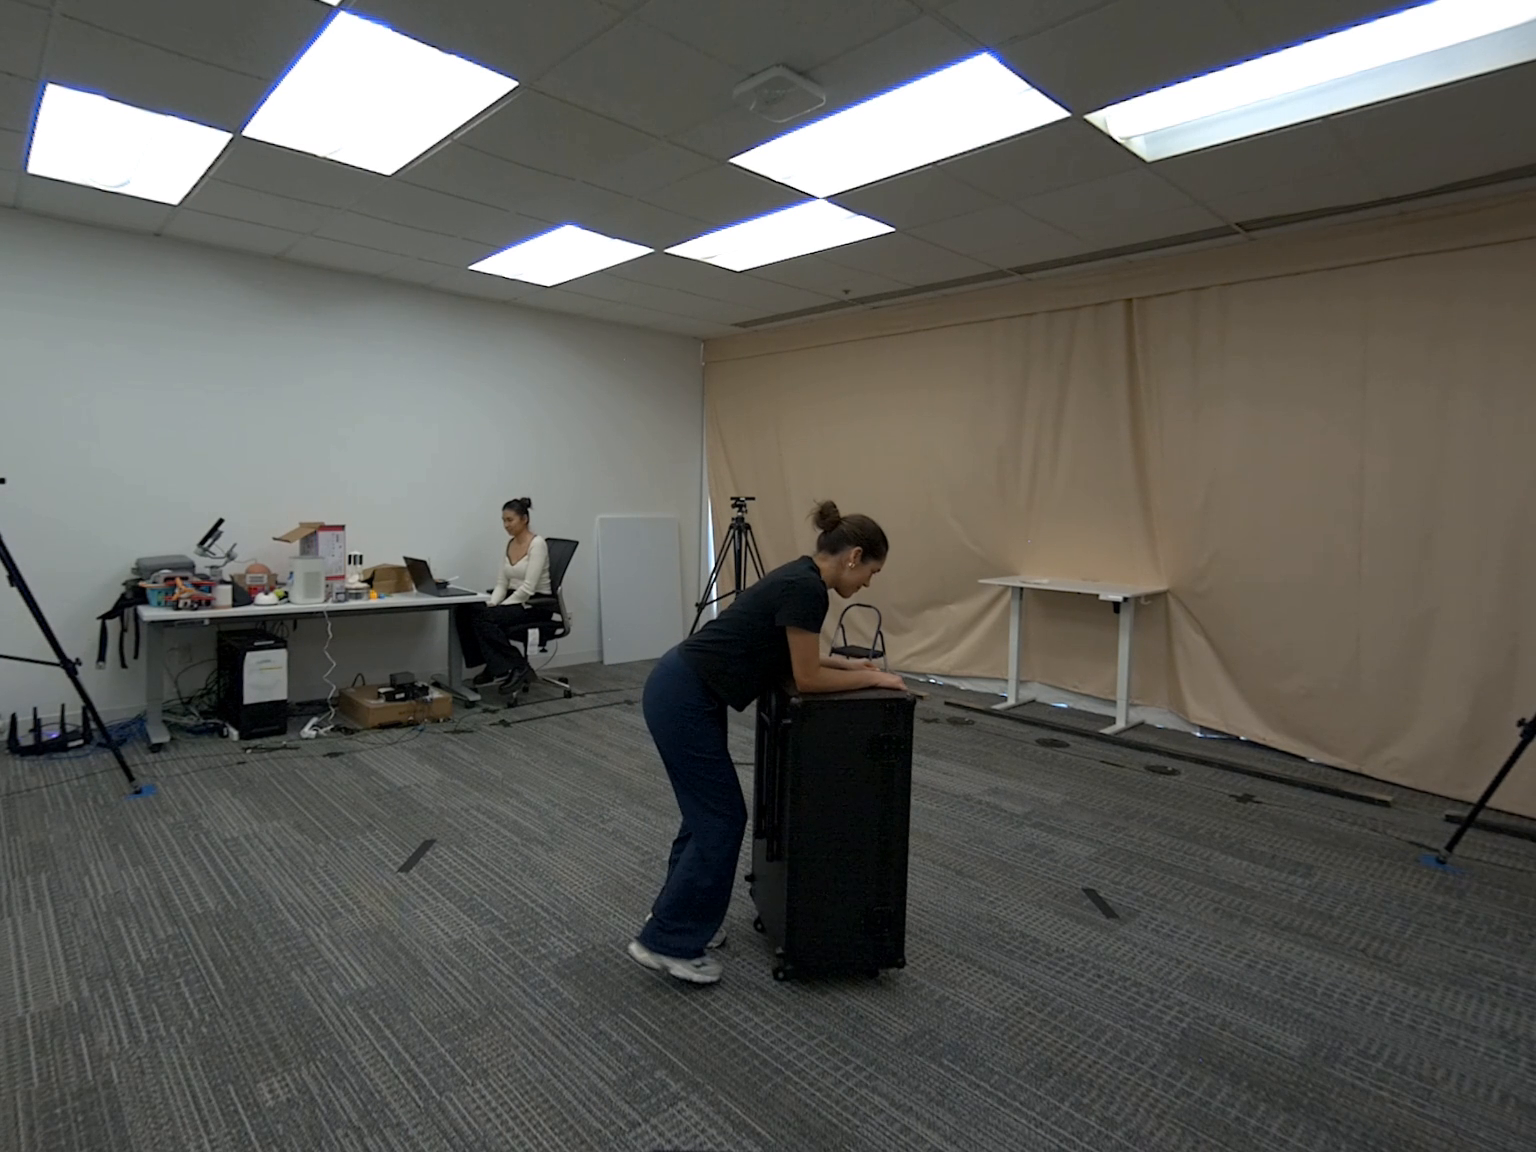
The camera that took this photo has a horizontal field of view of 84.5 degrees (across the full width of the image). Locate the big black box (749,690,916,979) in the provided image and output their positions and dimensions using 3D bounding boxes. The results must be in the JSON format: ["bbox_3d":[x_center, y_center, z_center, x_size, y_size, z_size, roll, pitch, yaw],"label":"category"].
[{"bbox_3d":[0.165,0.681,2.565,0.393,0.859,0.527,1,4,-11],"label":"big black box"}]
